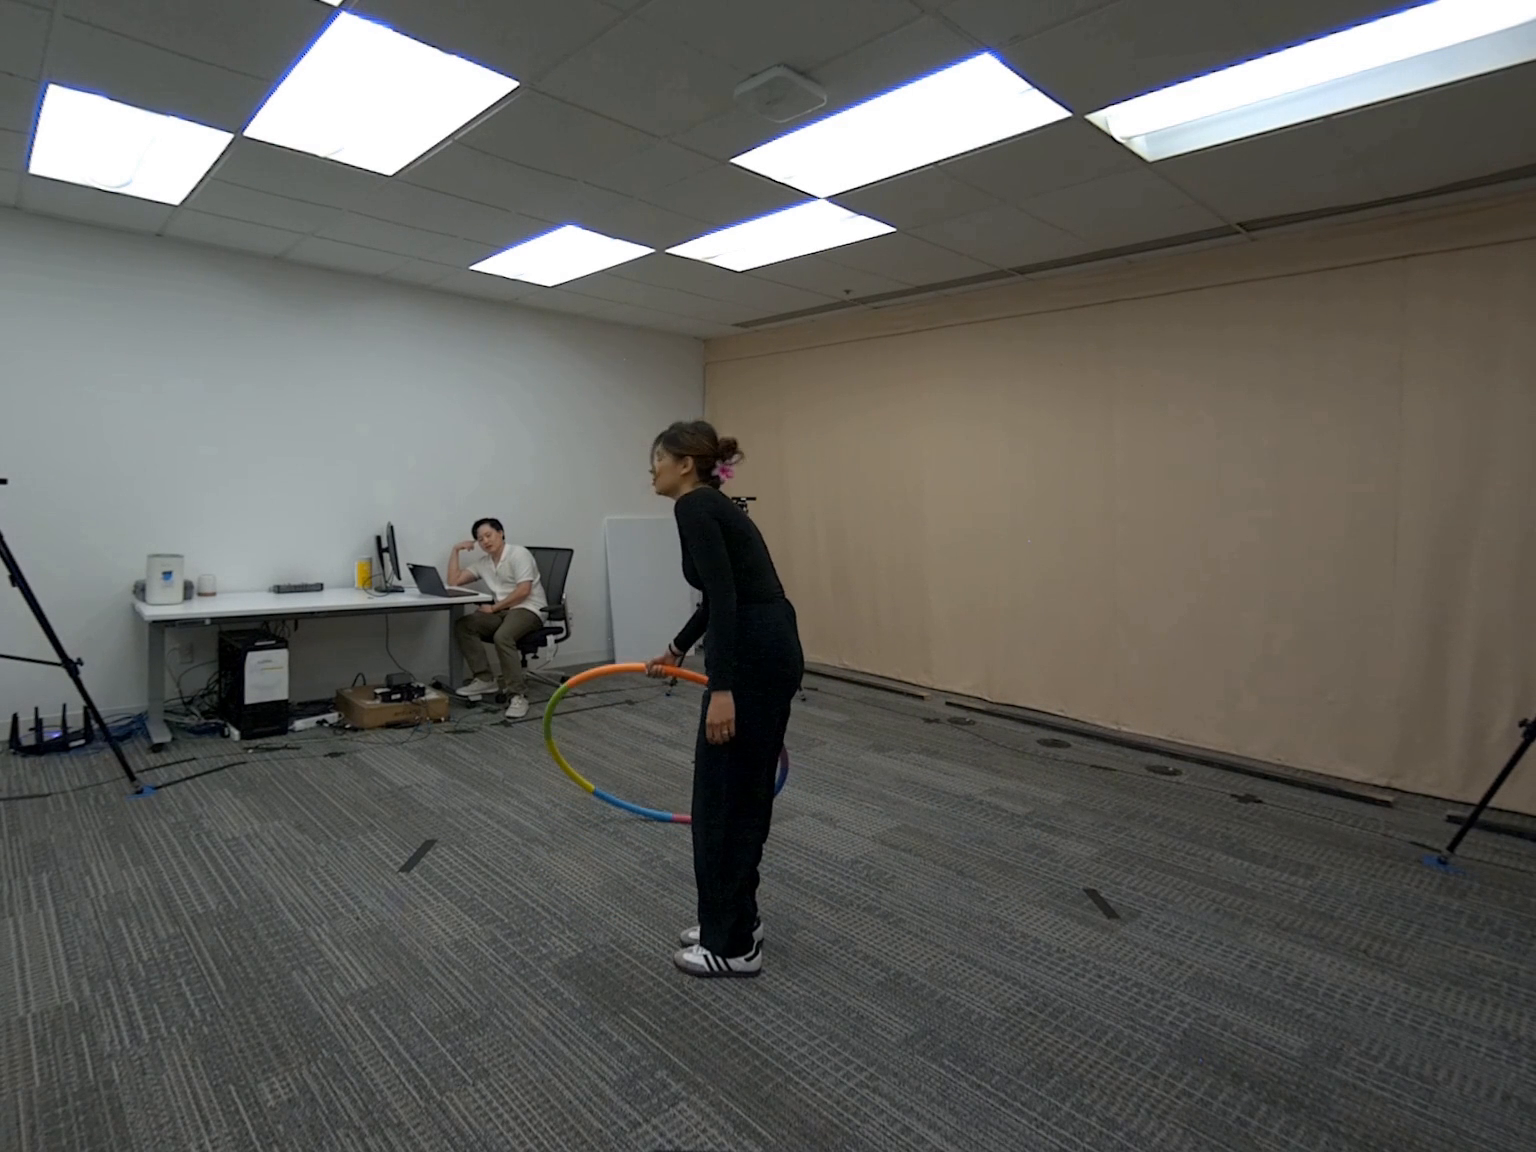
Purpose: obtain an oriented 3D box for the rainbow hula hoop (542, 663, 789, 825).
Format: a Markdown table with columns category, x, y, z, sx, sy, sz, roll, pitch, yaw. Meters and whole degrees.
| category | x | y | z | sx | sy | sz | roll | pitch | yaw |
| --- | --- | --- | --- | --- | --- | --- | --- | --- | --- |
| rainbow hula hoop | -0.413 | 0.684 | 3.290 | 0.994 | 0.962 | 0.052 | 3 | 41 | 10 |
